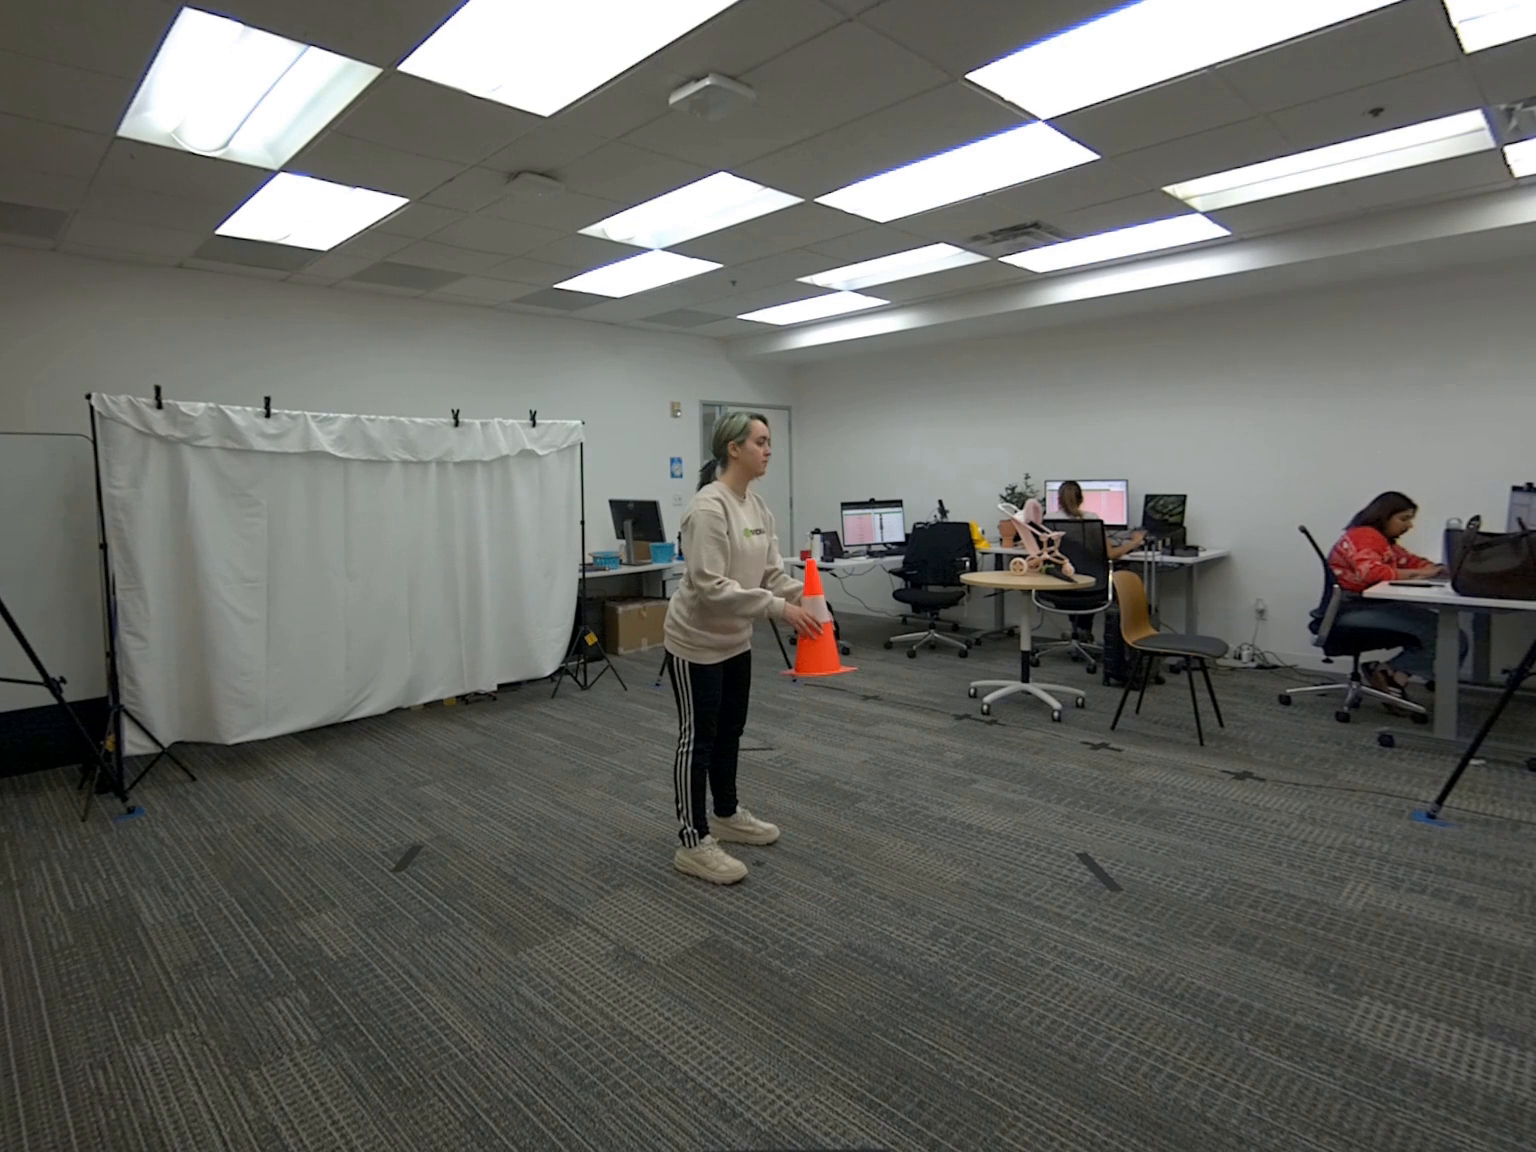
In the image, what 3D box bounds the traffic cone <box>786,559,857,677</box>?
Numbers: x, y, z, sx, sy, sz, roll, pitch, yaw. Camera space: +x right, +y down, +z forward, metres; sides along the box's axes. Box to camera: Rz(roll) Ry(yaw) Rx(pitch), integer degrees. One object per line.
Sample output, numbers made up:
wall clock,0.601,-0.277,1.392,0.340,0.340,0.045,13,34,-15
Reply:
traffic cone,0.154,0.146,2.910,0.200,0.384,0.209,-5,0,-40
